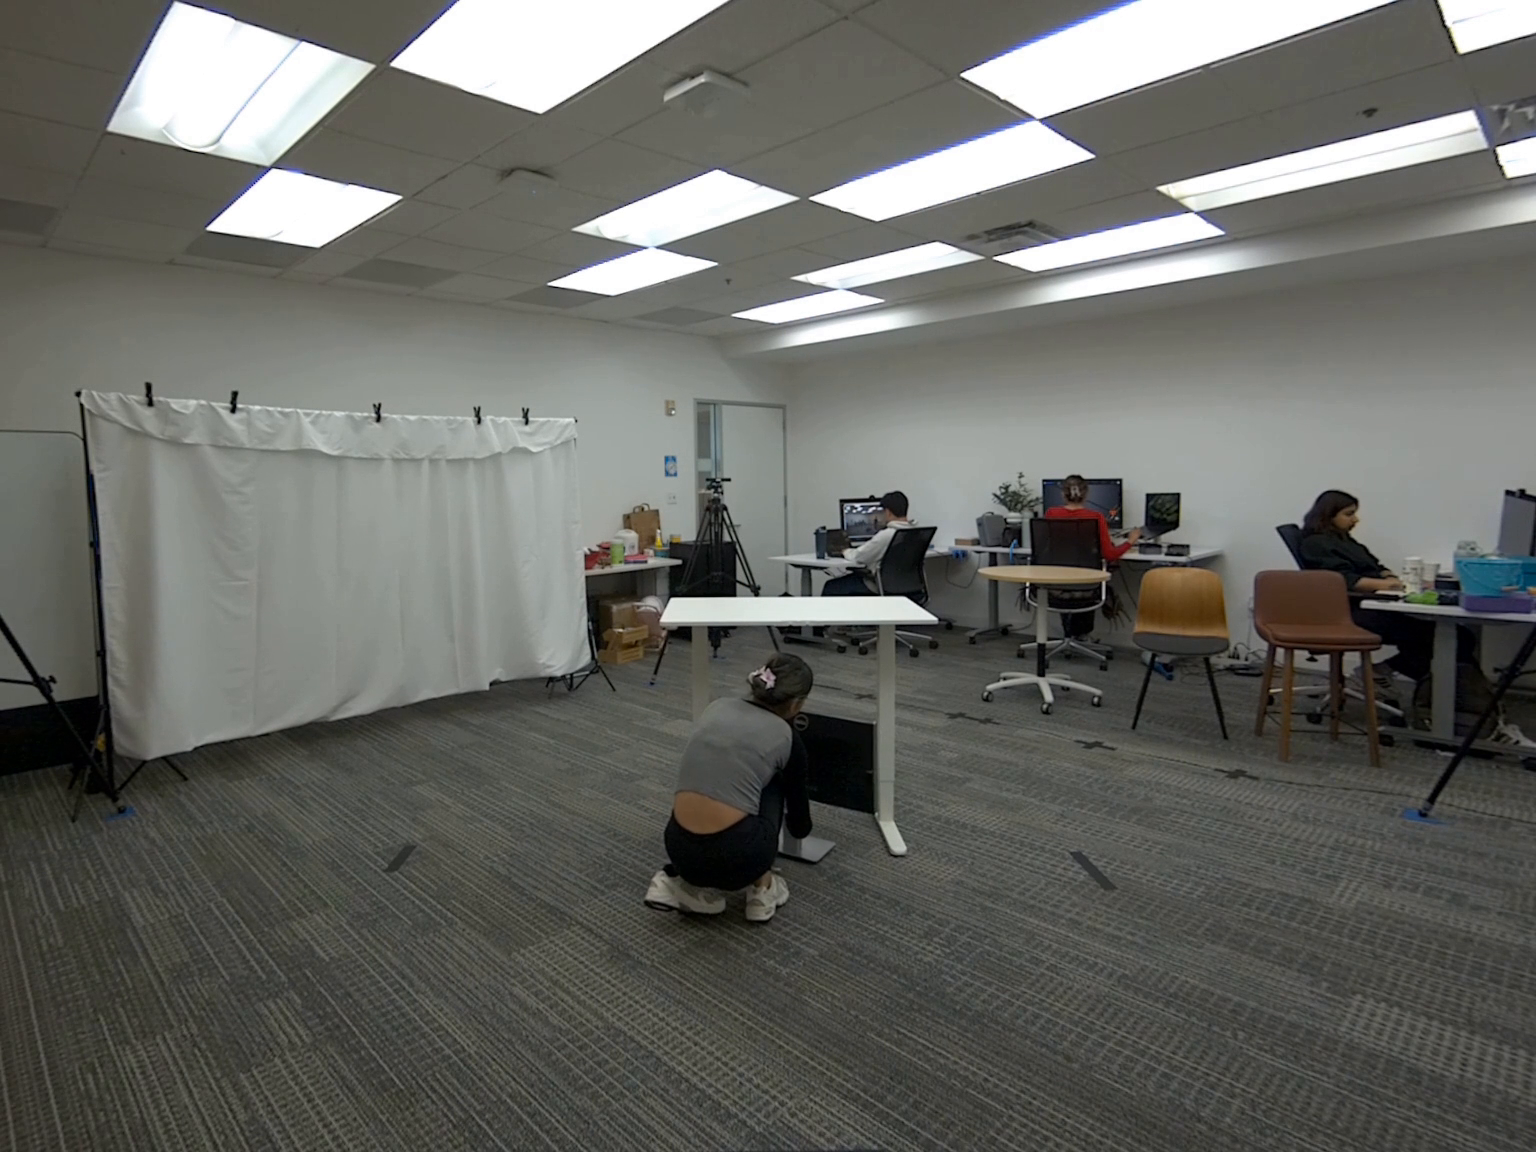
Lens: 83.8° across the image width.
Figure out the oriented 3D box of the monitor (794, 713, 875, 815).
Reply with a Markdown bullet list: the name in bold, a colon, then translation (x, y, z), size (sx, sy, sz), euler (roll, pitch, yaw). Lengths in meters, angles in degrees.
- **monitor**: translation (0.128, 0.764, 3.201), size (0.553, 0.521, 0.183), euler (6, 3, 27)
